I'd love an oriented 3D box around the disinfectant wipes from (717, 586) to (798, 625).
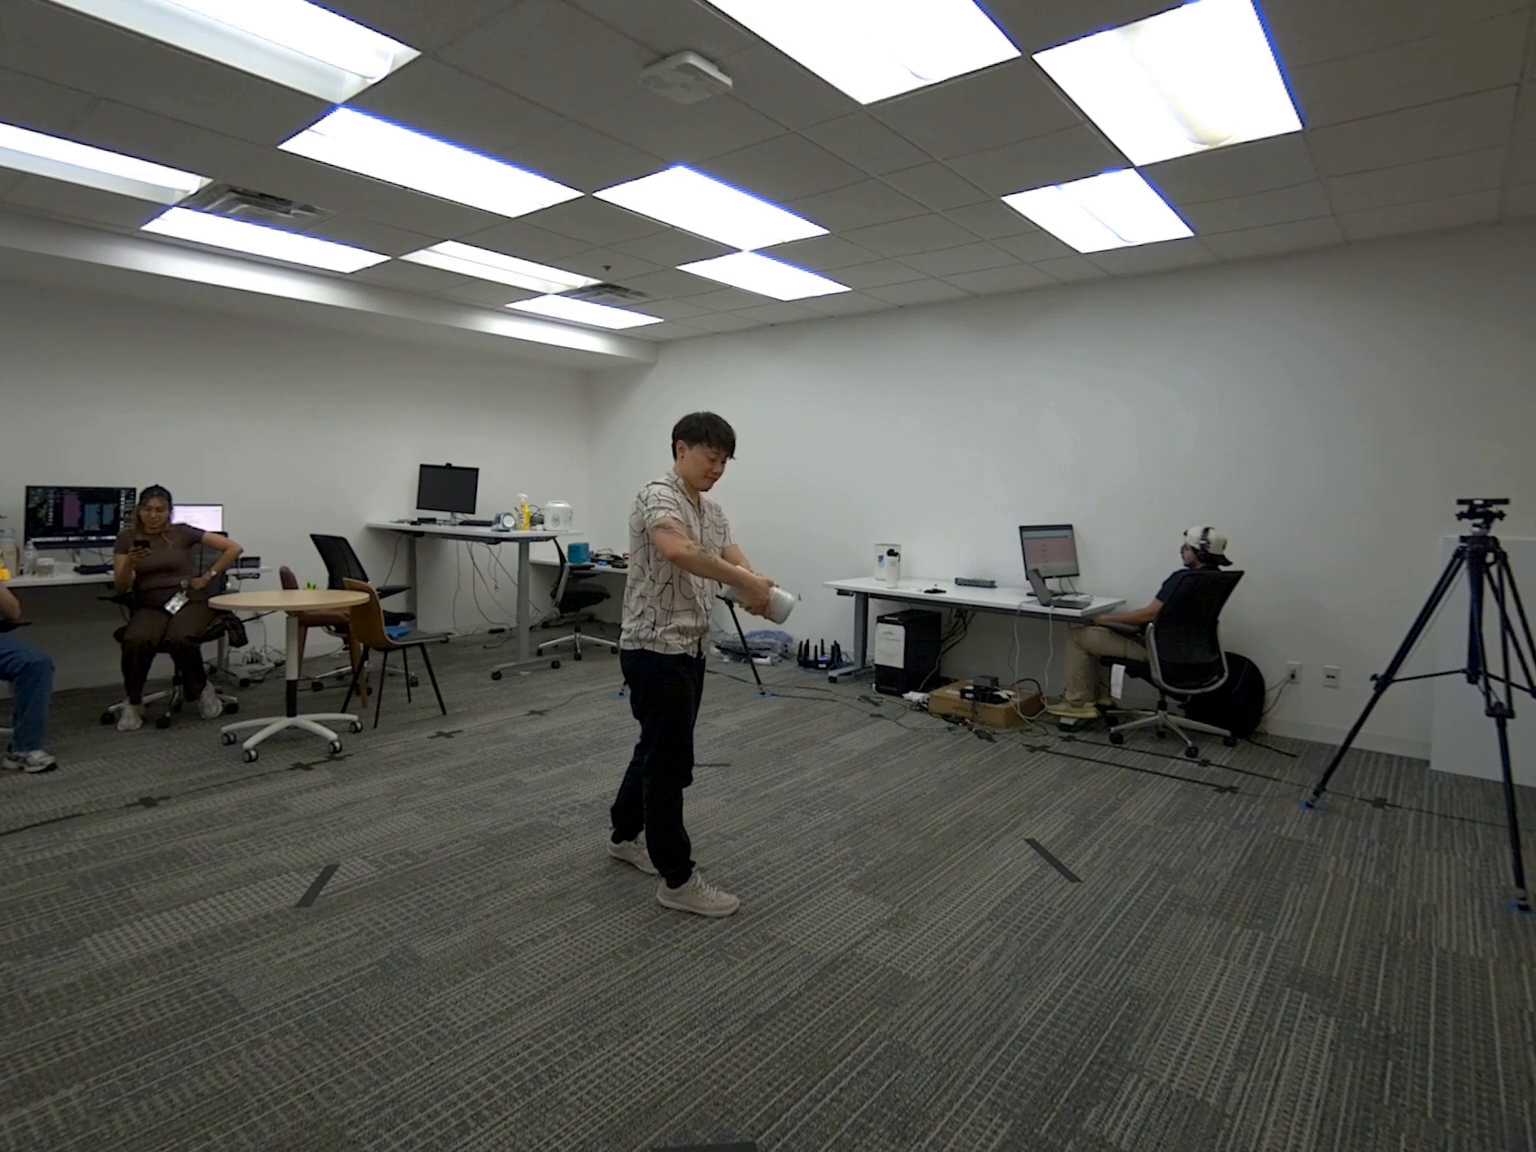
[{"bbox_3d":[-0.028,0.050,2.714,0.215,0.118,0.119,26,-1,-9],"label":"disinfectant wipes"}]
